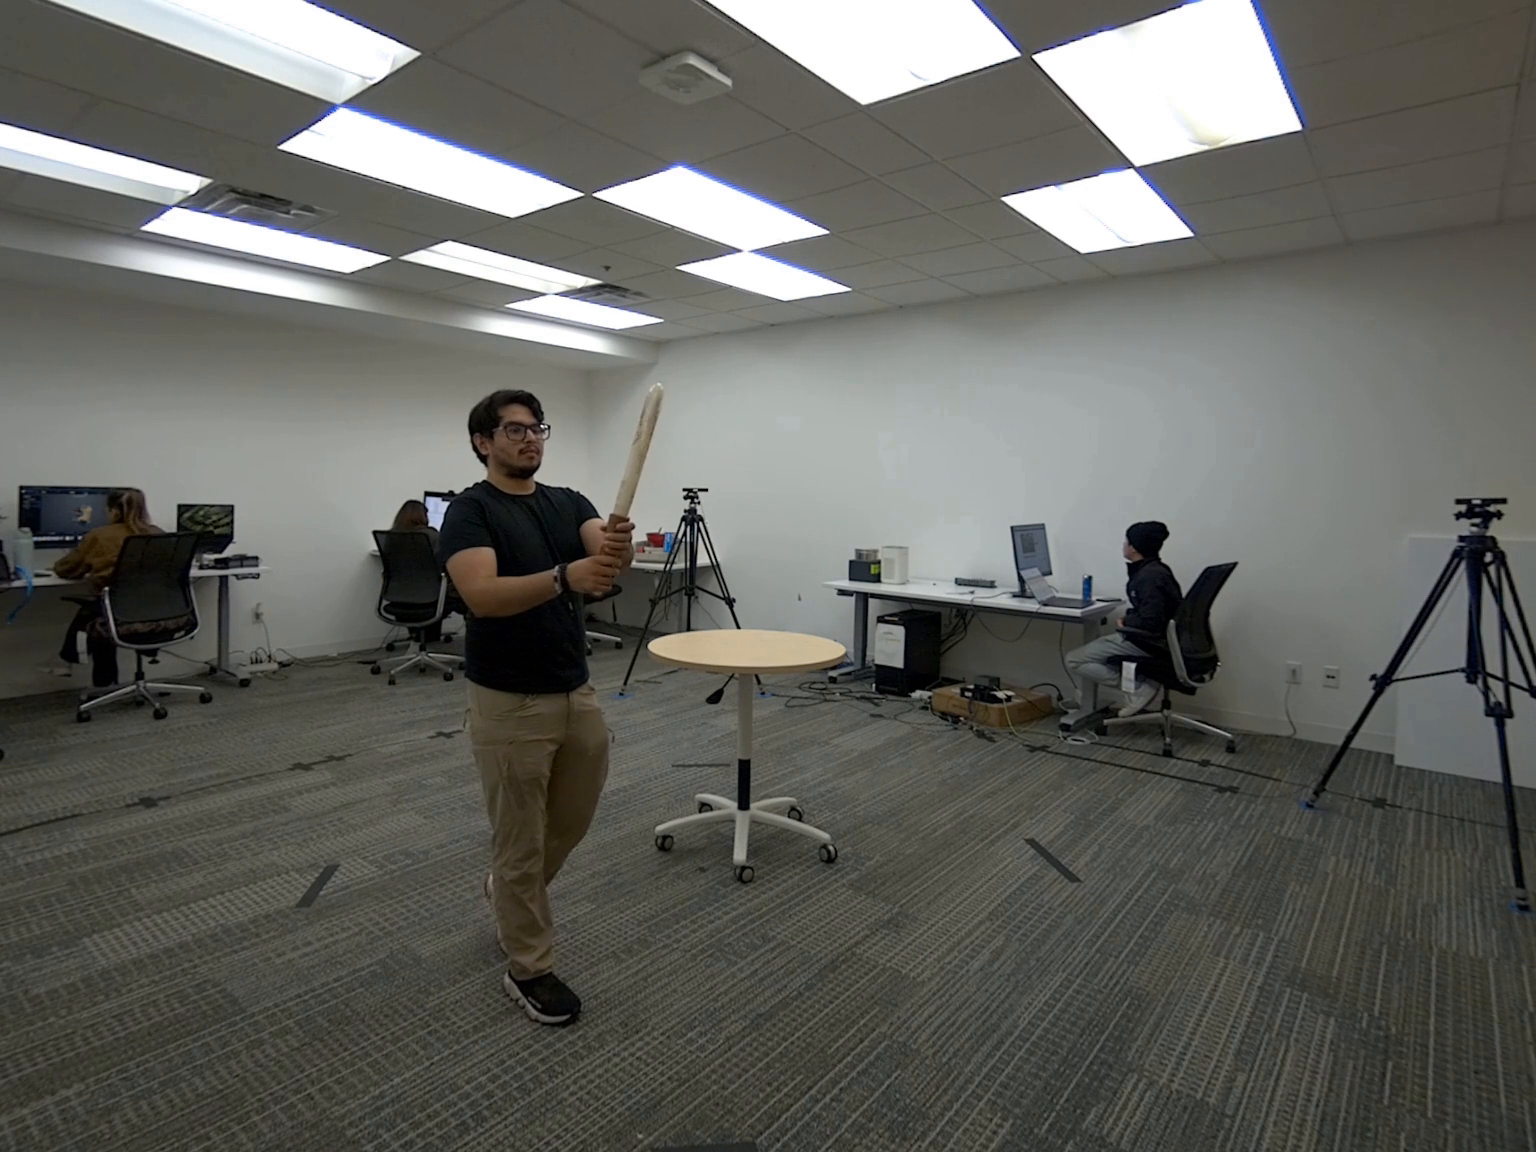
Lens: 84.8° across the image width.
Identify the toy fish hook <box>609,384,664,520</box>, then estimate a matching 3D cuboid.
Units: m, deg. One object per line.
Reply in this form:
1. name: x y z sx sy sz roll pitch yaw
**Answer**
1. toy fish hook: -0.321 -0.178 1.890 0.048 0.504 0.228 14 8 -9
